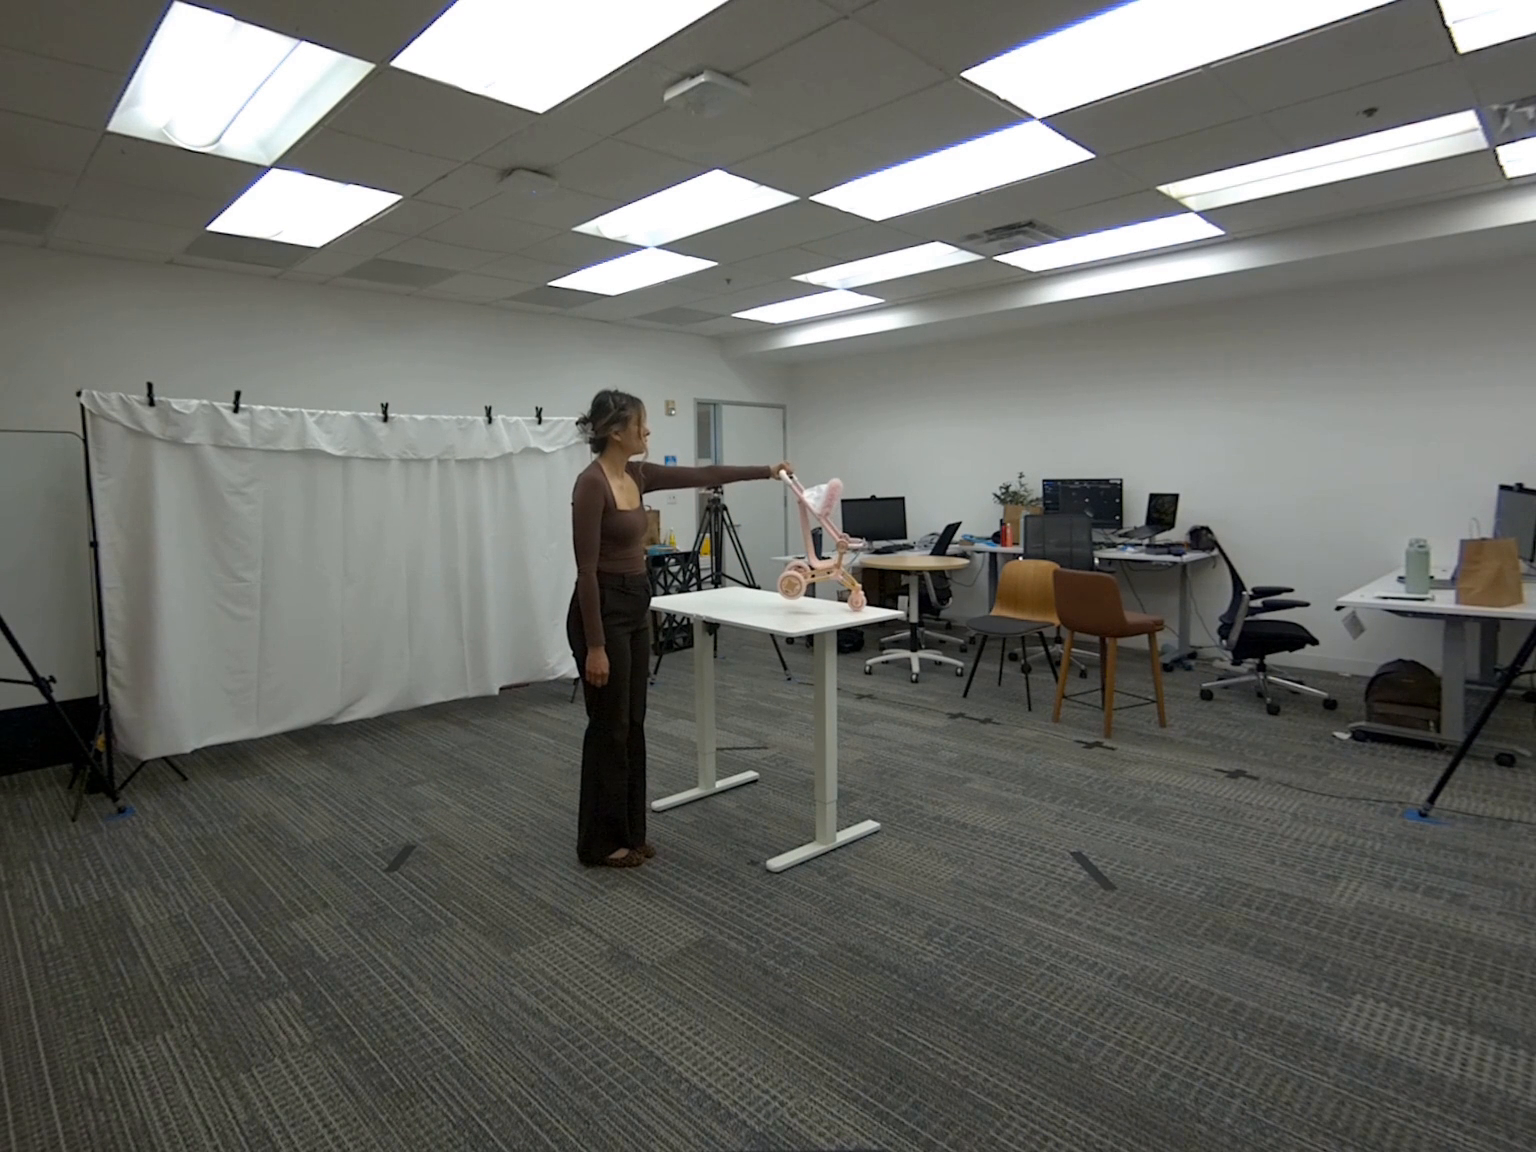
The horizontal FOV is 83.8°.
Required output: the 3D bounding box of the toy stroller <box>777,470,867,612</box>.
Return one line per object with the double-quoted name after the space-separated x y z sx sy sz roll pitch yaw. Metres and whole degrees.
0.224 -0.131 3.274 0.347 0.532 0.278 3 6 15 "toy stroller"
